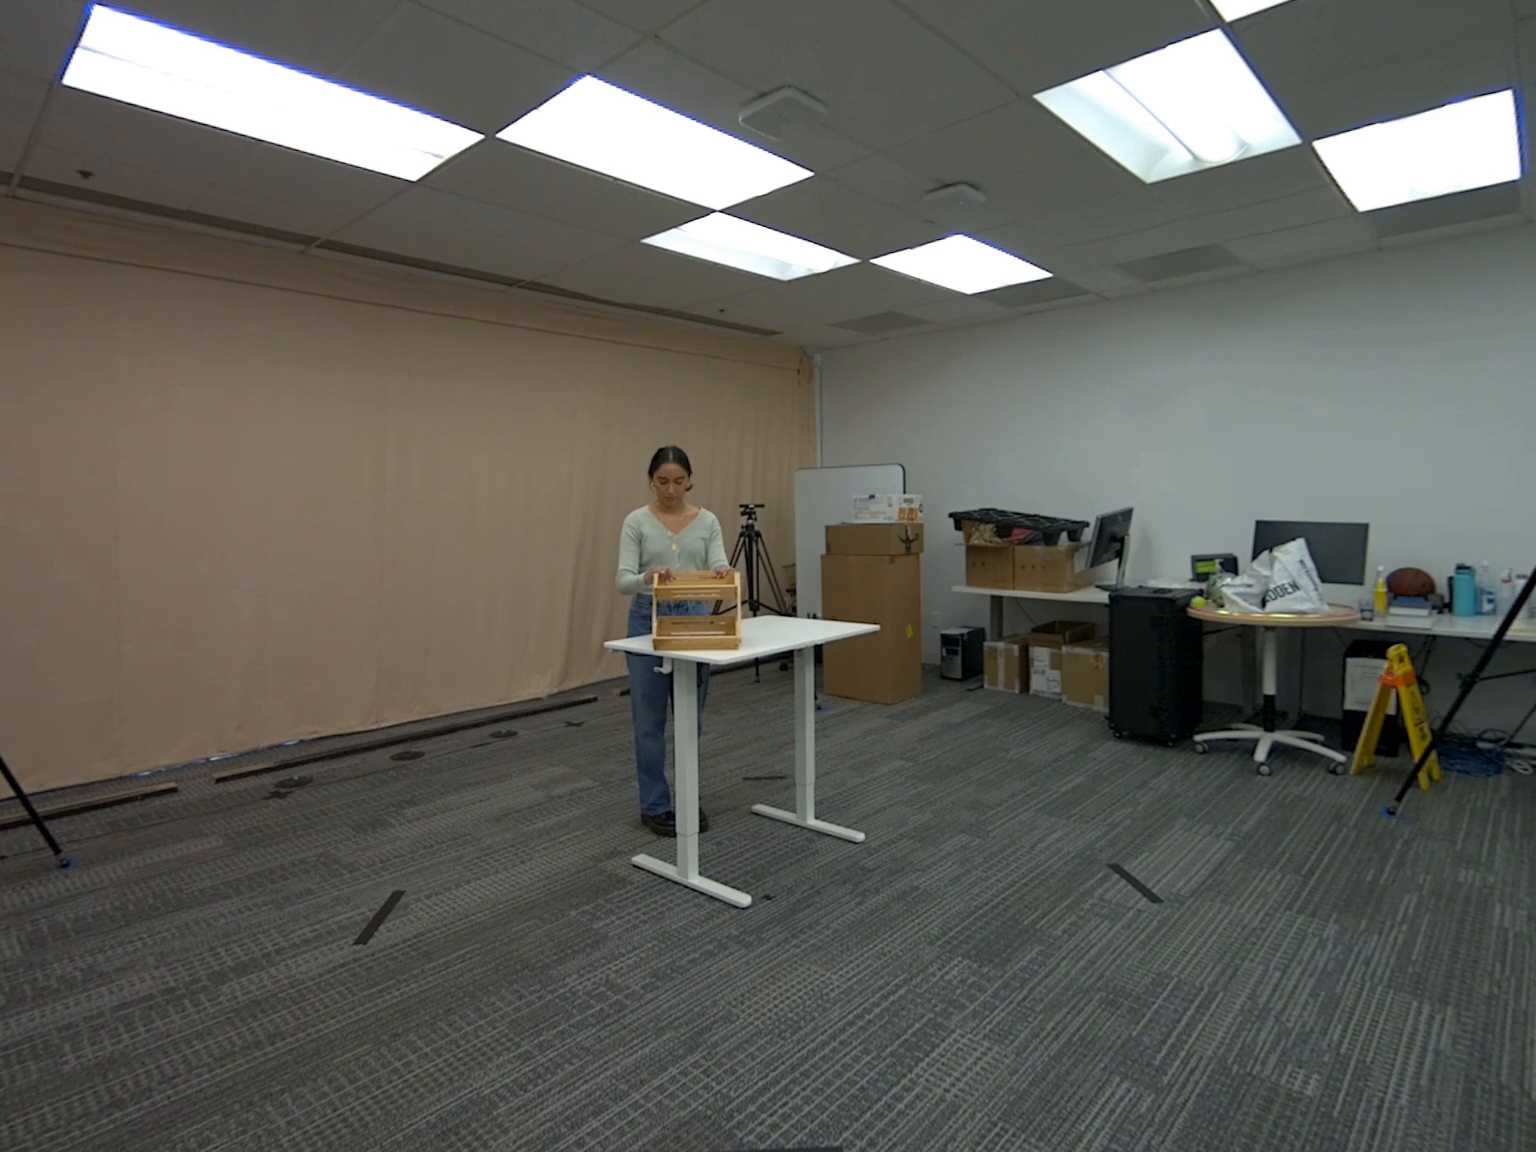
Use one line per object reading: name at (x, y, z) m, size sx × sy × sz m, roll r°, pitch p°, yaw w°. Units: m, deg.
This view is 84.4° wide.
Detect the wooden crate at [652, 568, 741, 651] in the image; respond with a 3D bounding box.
wooden crate at (-0.258, 0.119, 3.090) m, size 0.324 × 0.273 × 0.303 m, roll -1°, pitch 4°, yaw -3°
